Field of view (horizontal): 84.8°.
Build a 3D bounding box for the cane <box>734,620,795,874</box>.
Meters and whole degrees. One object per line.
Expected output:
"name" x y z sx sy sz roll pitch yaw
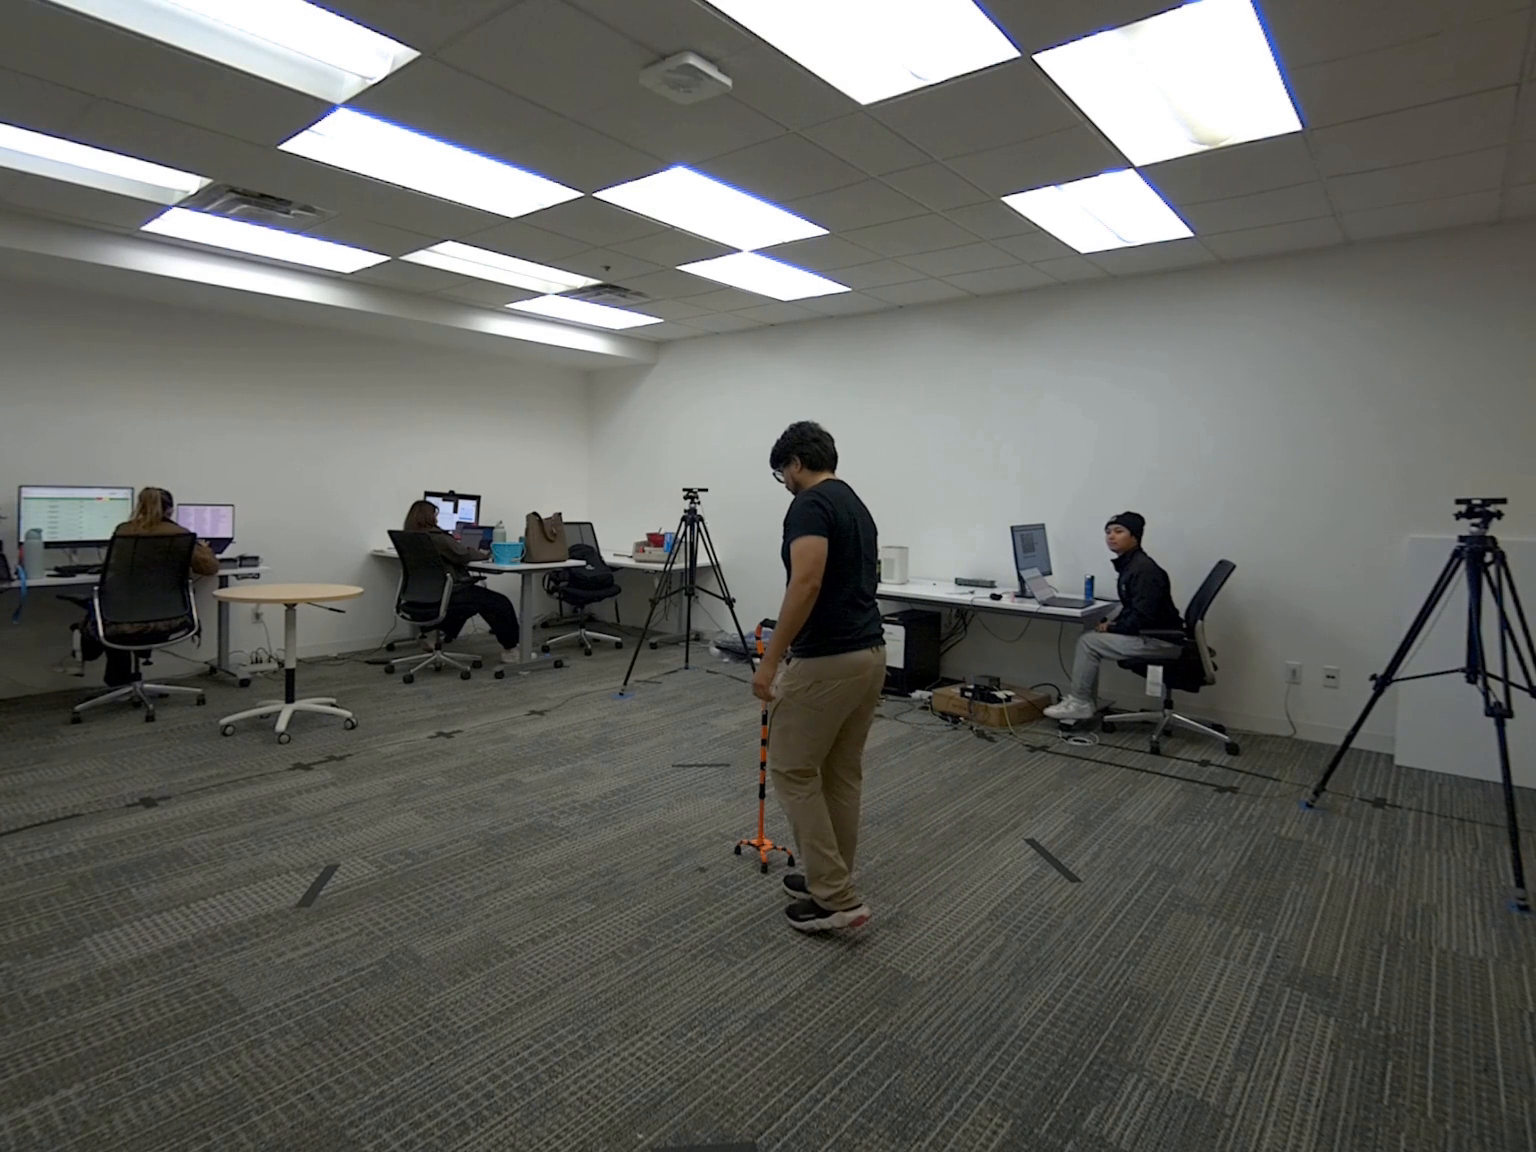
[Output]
"cane" -0.008 0.616 3.182 0.147 0.906 0.213 0 3 -32
